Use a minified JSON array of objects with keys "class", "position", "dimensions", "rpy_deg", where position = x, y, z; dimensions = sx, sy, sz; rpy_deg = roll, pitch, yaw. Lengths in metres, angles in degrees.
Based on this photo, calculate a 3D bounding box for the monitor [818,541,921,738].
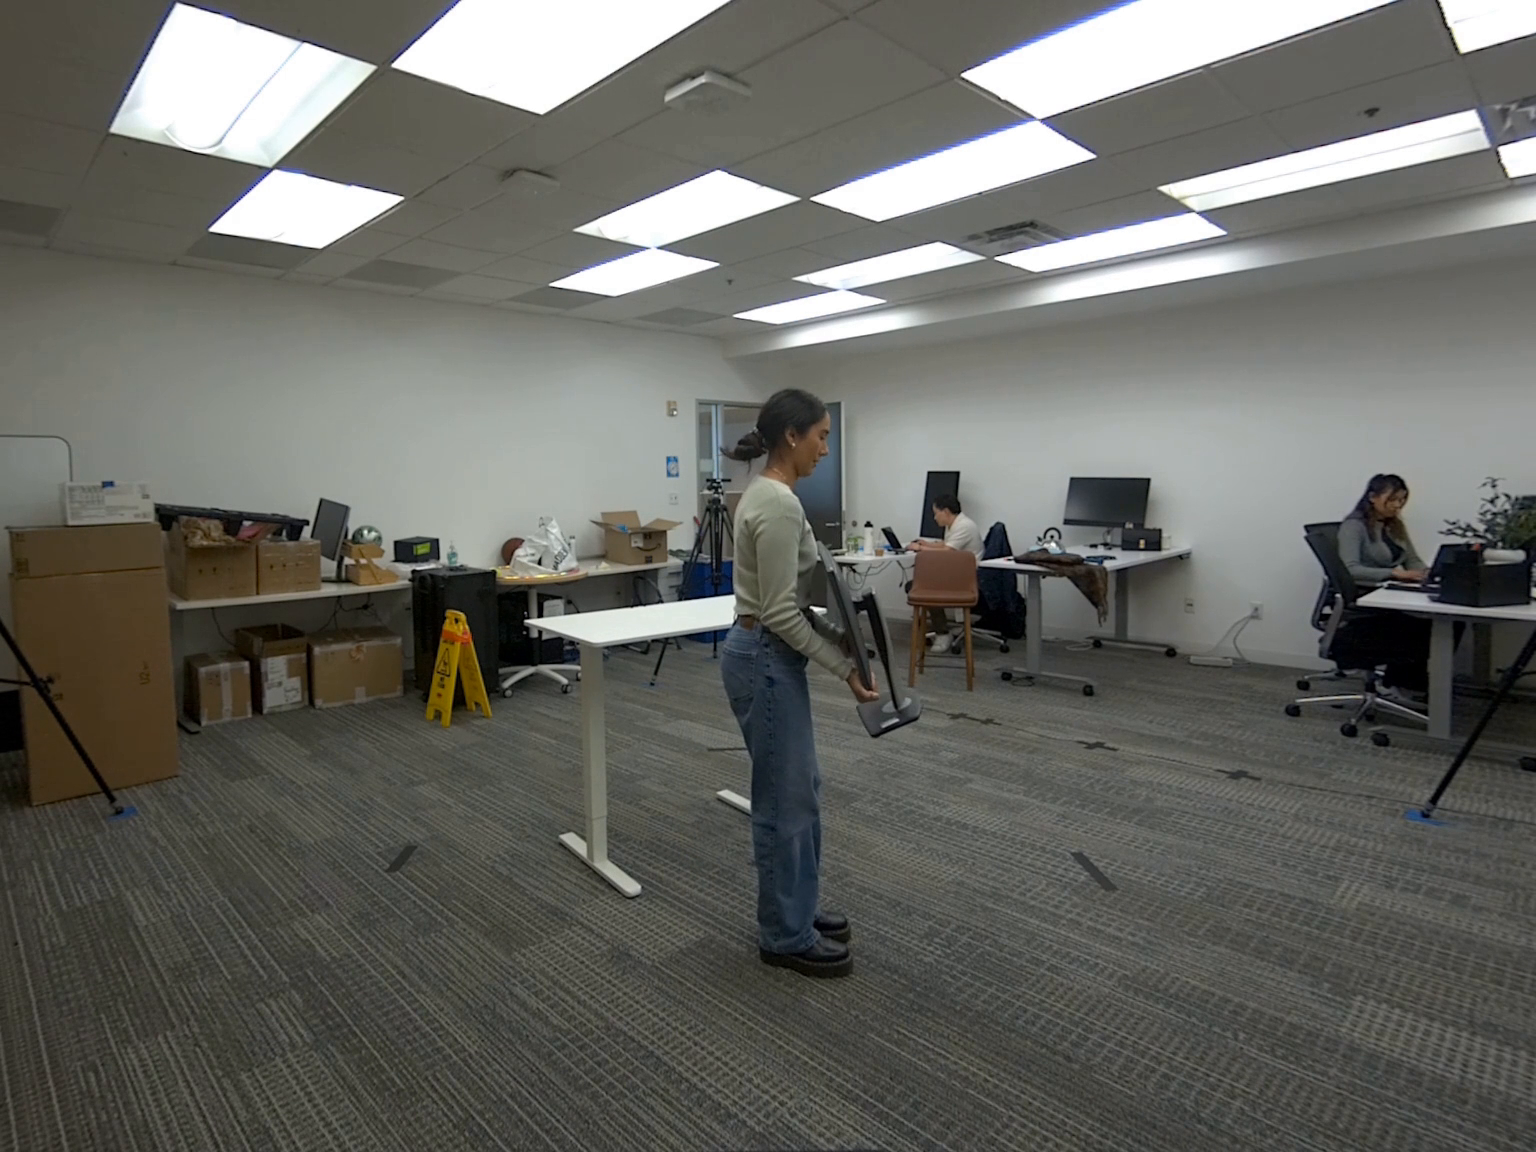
[{"class":"monitor","position":[0.270,0.168,2.470],"dimensions":[0.187,0.518,0.543],"rpy_deg":[-24,8,2]}]
